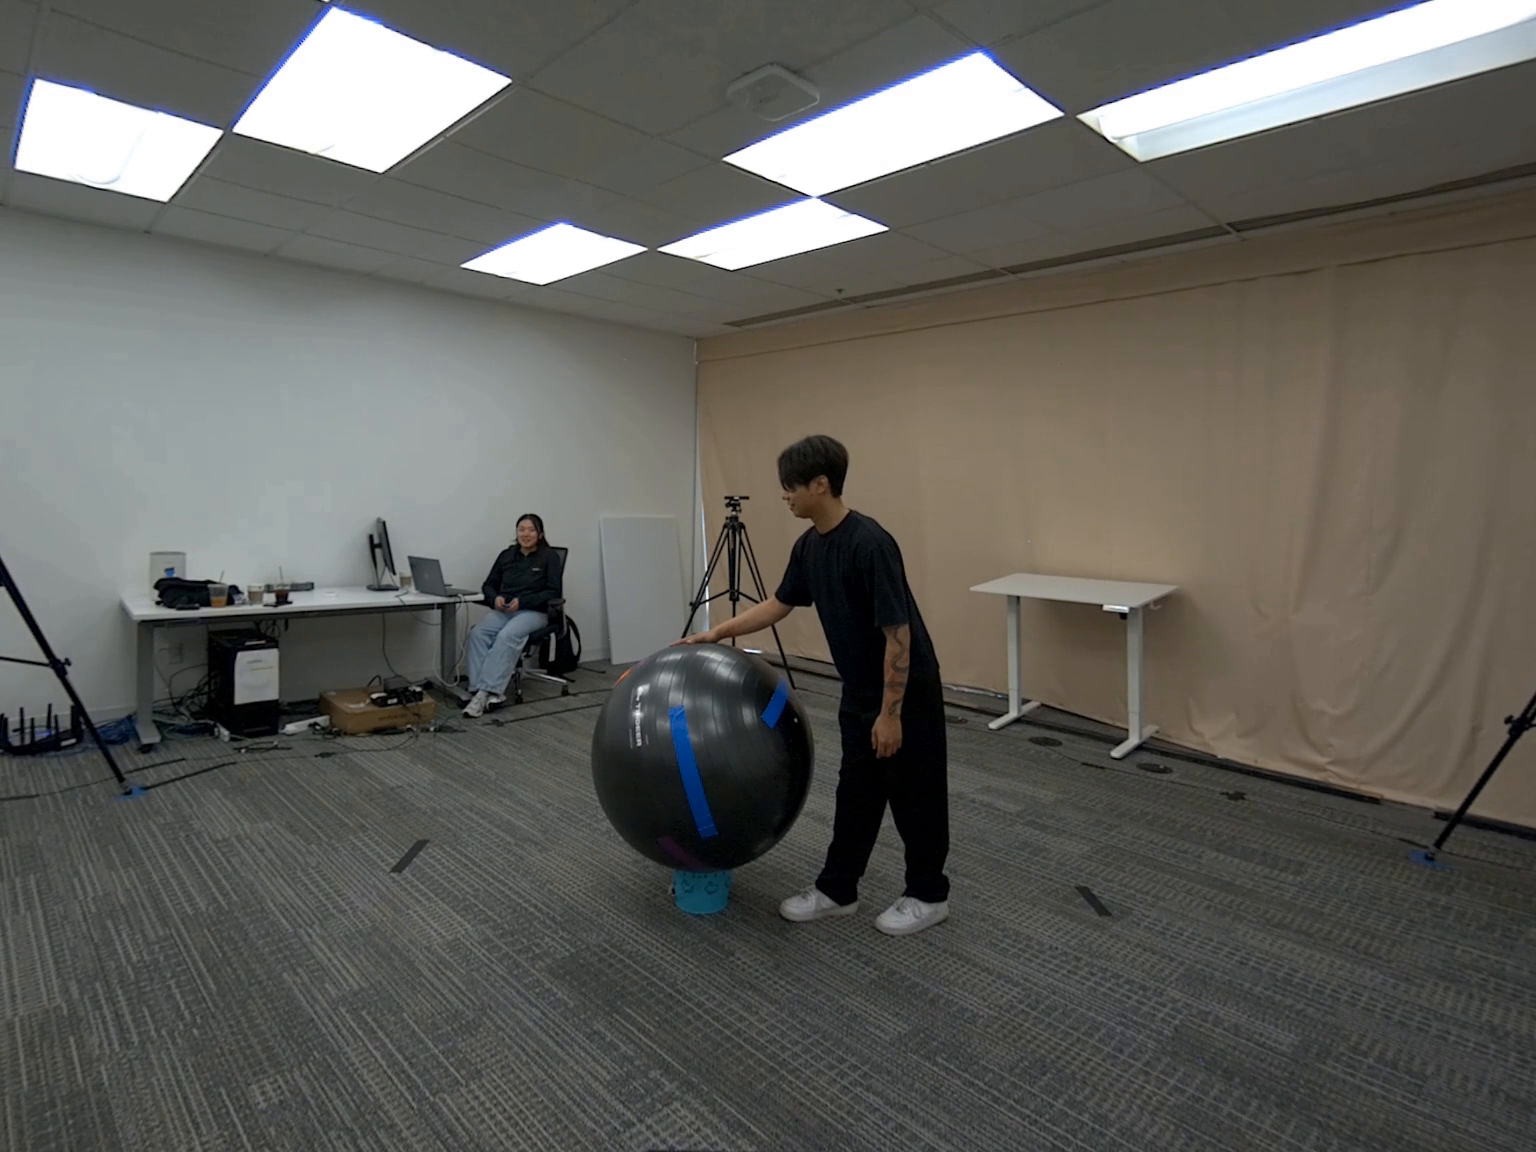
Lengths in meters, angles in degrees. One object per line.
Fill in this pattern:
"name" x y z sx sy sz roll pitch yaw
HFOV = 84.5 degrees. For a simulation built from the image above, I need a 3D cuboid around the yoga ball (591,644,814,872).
"yoga ball" -0.235 0.612 2.879 0.757 0.756 0.761 1 4 -1
